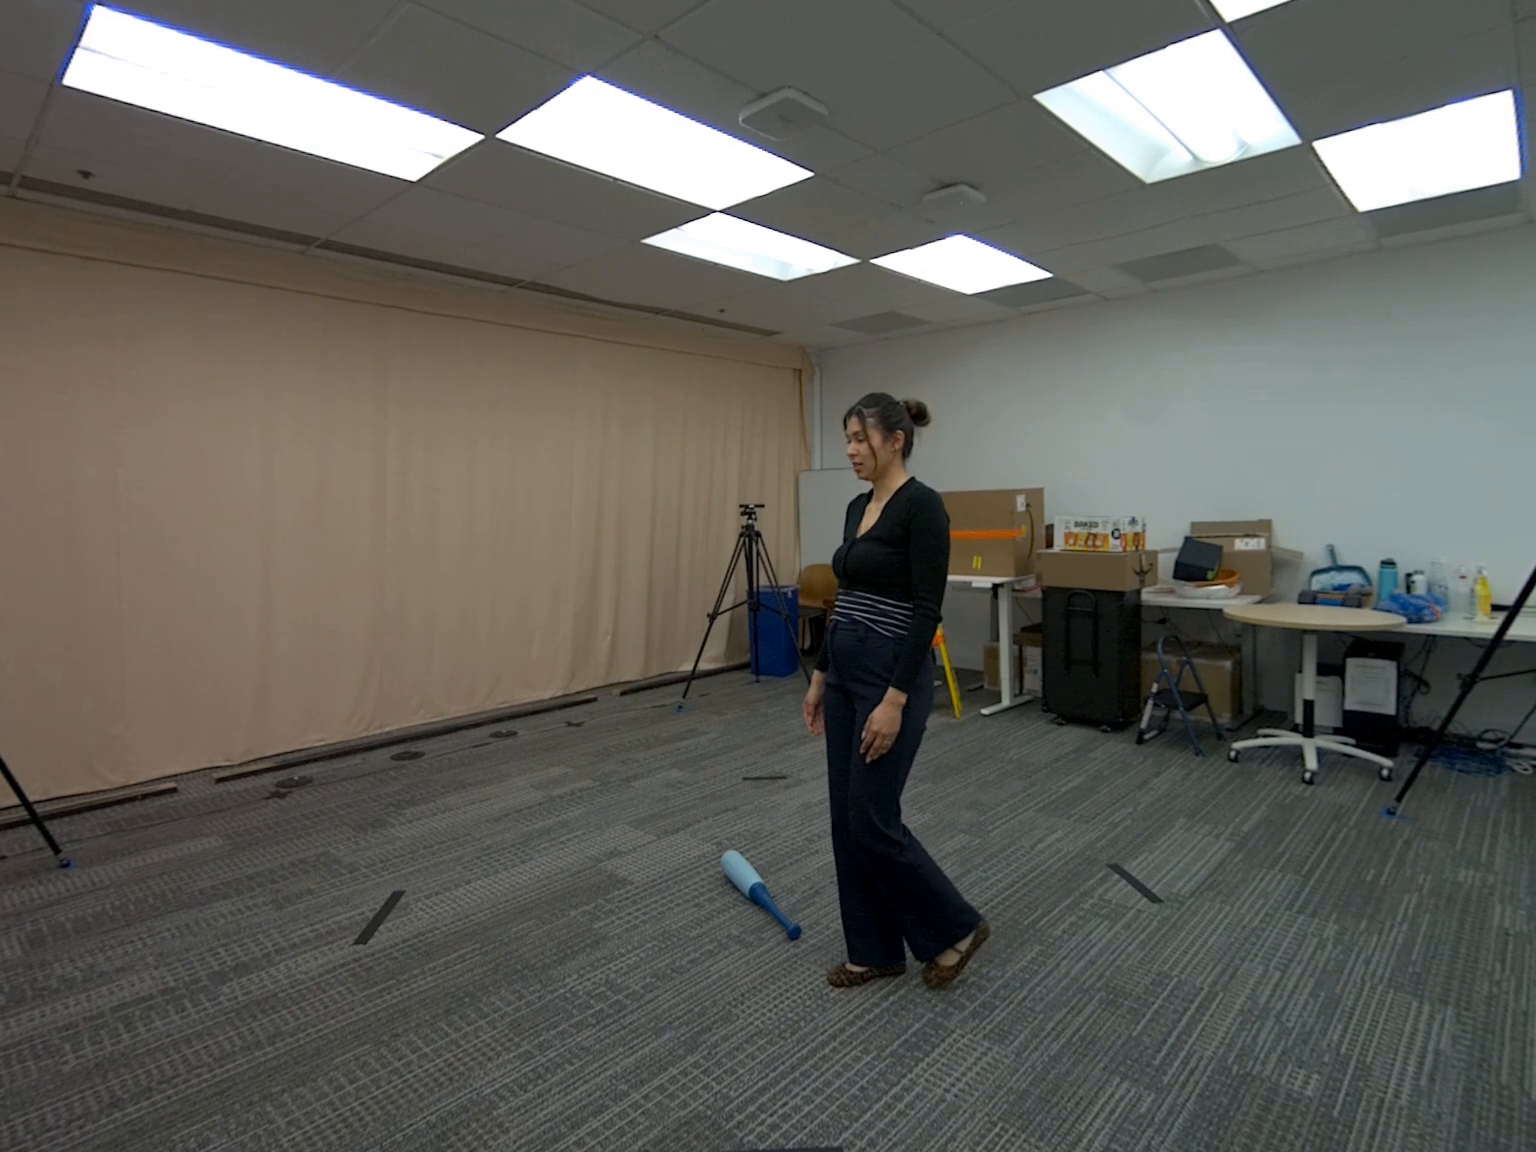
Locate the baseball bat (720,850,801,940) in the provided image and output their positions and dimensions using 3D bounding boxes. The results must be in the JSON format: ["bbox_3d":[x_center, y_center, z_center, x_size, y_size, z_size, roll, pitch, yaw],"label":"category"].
[{"bbox_3d":[-0.023,1.111,2.930,0.087,0.088,0.558,-3,9,-24],"label":"baseball bat"}]
